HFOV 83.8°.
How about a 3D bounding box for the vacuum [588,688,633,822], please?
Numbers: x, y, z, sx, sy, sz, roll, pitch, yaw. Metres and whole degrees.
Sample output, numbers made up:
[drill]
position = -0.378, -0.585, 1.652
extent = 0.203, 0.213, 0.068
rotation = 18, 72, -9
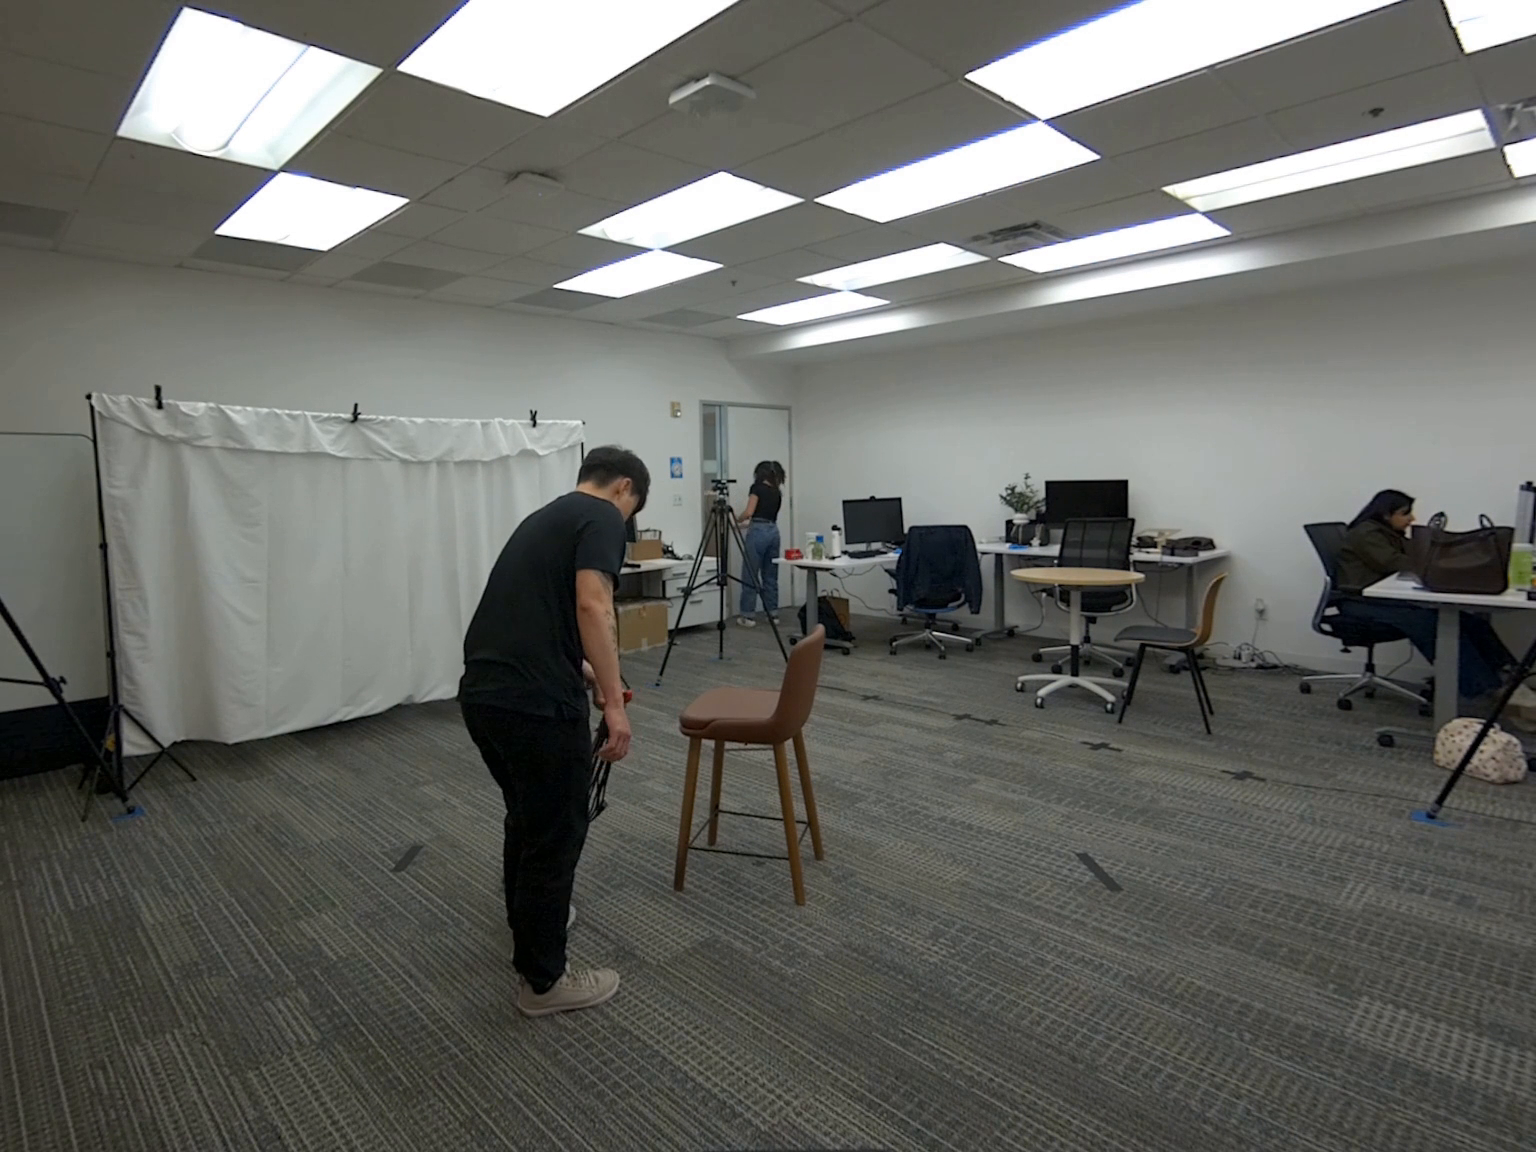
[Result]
[vacuum]
position = -0.596, 0.711, 2.685
extent = 0.247, 1.038, 0.149
rotation = -10, 53, -38
